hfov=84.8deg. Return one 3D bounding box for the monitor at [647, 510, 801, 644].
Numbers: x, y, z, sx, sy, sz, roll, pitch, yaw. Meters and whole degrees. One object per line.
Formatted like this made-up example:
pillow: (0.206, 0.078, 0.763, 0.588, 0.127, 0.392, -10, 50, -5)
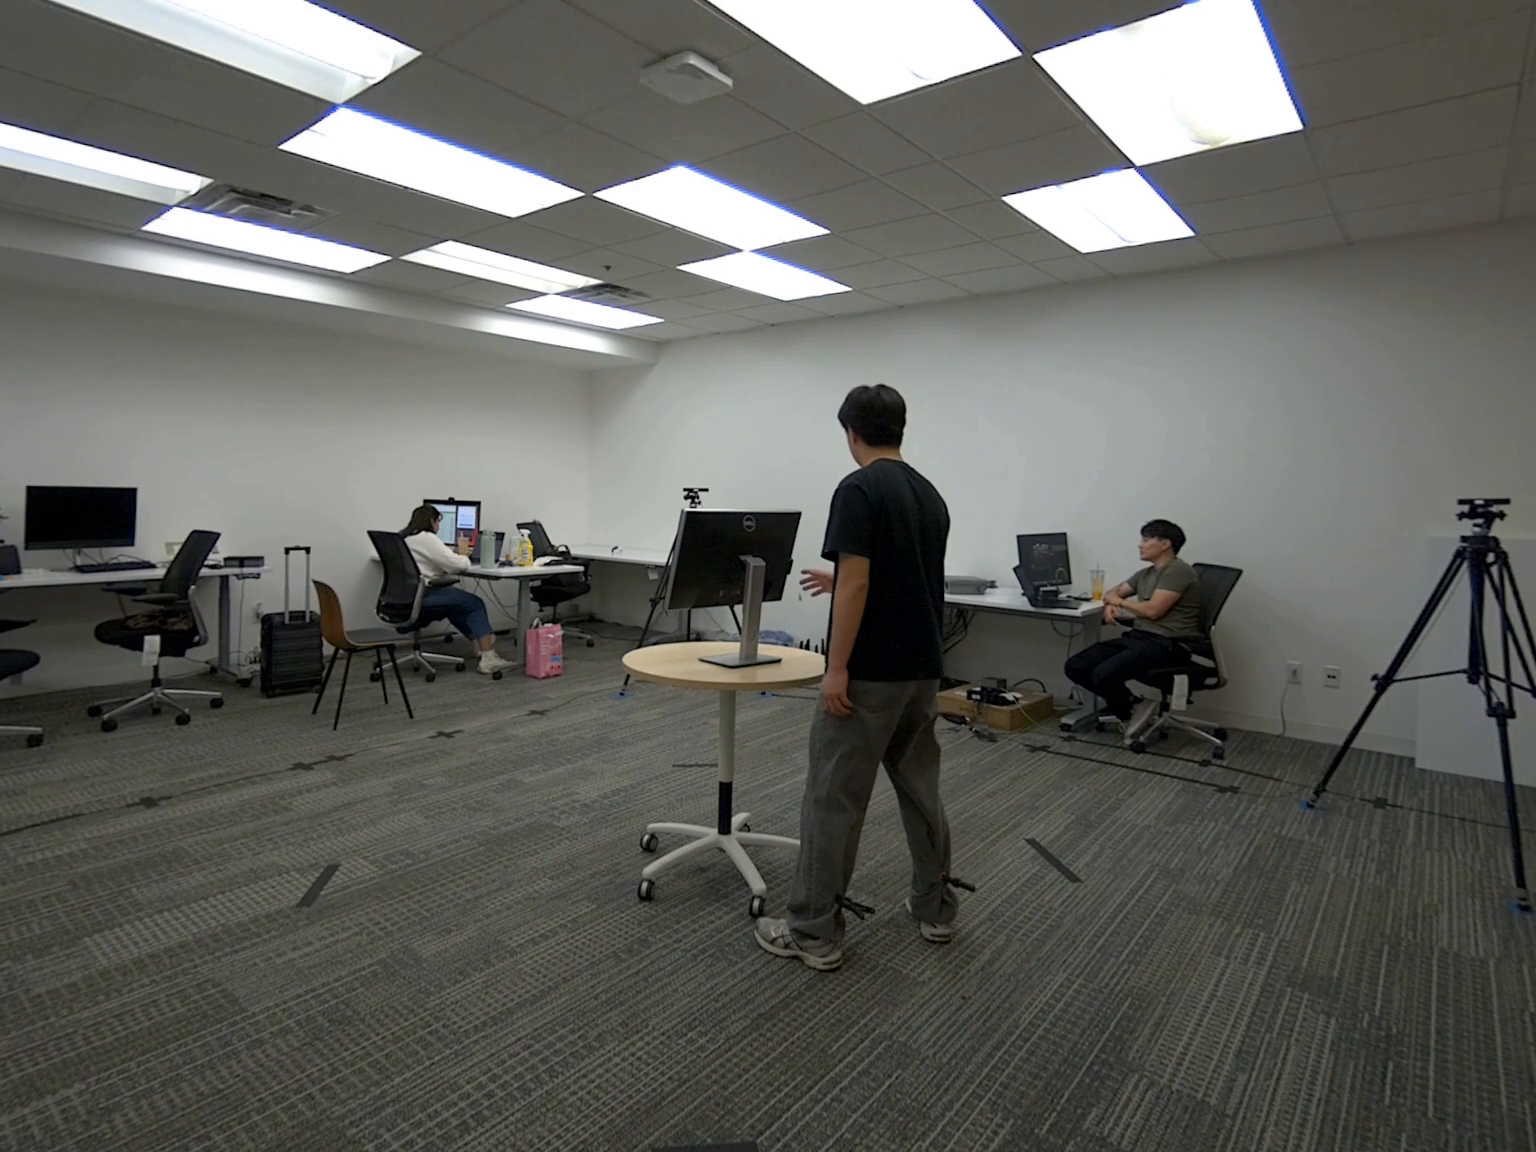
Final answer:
monitor: (-0.108, 0.040, 3.045, 0.545, 0.565, 0.229, -1, 2, -39)
